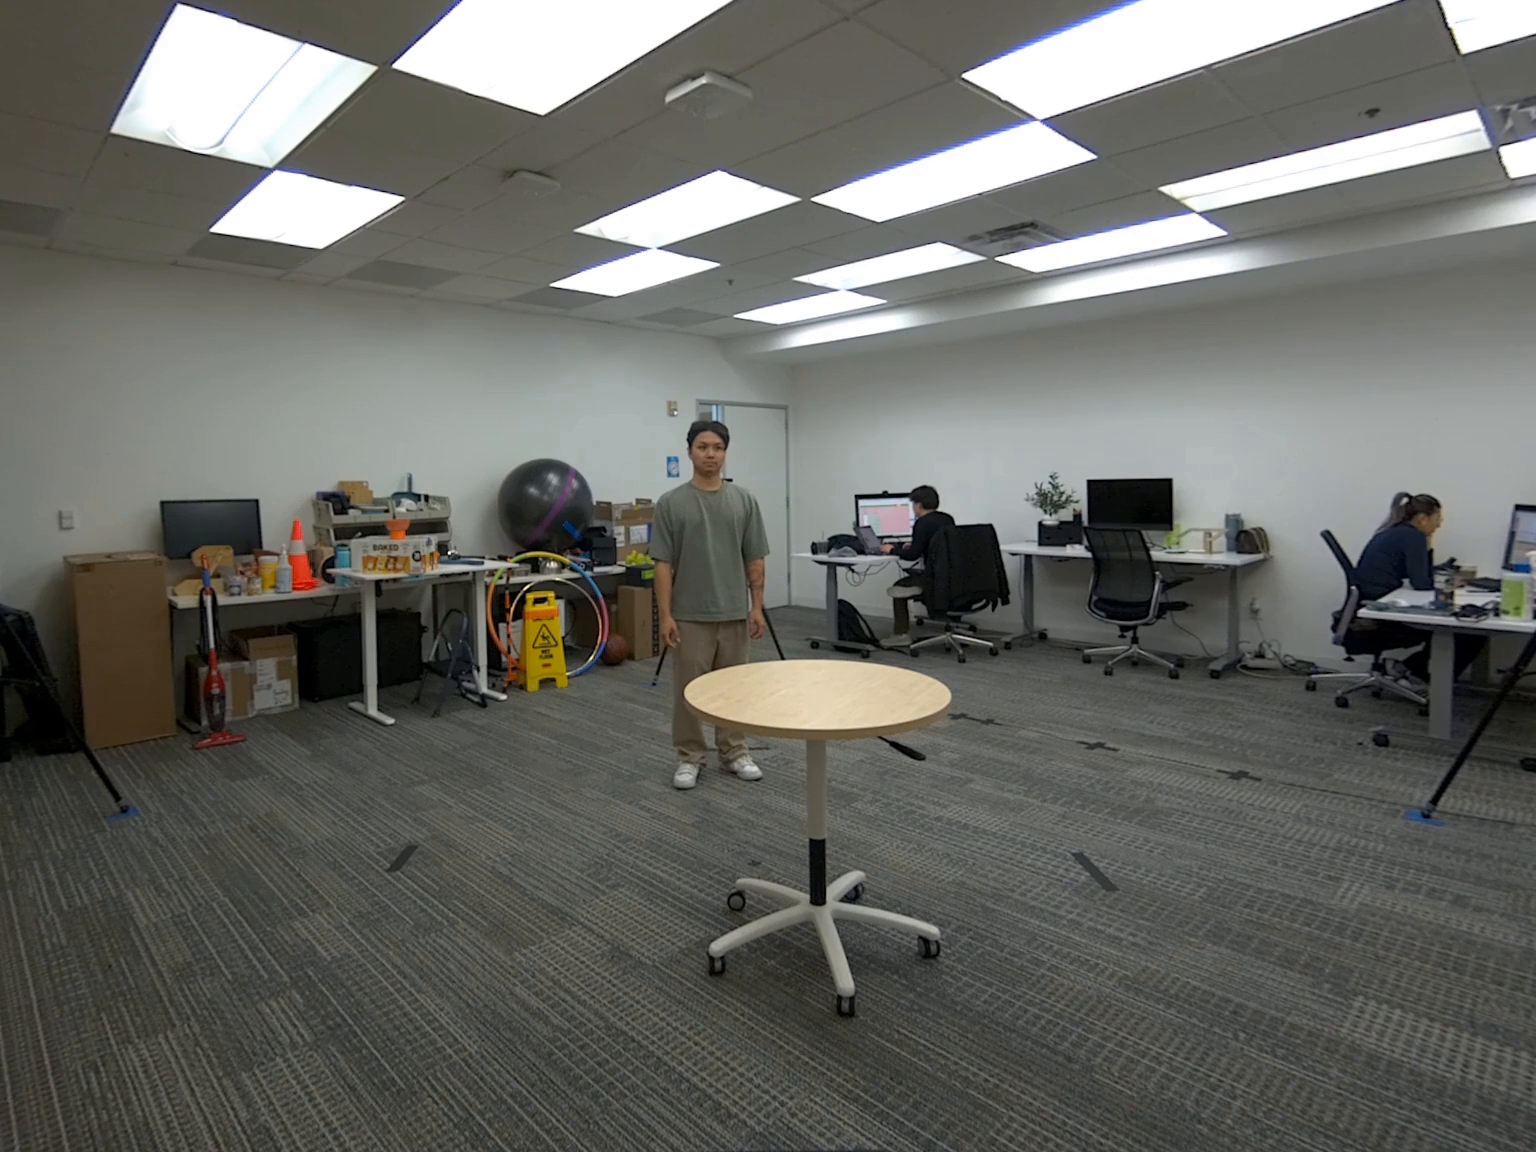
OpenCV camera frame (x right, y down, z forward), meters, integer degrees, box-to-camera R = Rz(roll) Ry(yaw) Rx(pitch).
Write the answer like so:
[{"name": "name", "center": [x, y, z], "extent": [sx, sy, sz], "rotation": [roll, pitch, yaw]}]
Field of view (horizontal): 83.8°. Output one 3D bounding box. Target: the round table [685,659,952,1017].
[{"name": "round table", "center": [0.159, 0.717, 2.514], "extent": [0.784, 0.783, 0.789], "rotation": [-1, 5, -2]}]
